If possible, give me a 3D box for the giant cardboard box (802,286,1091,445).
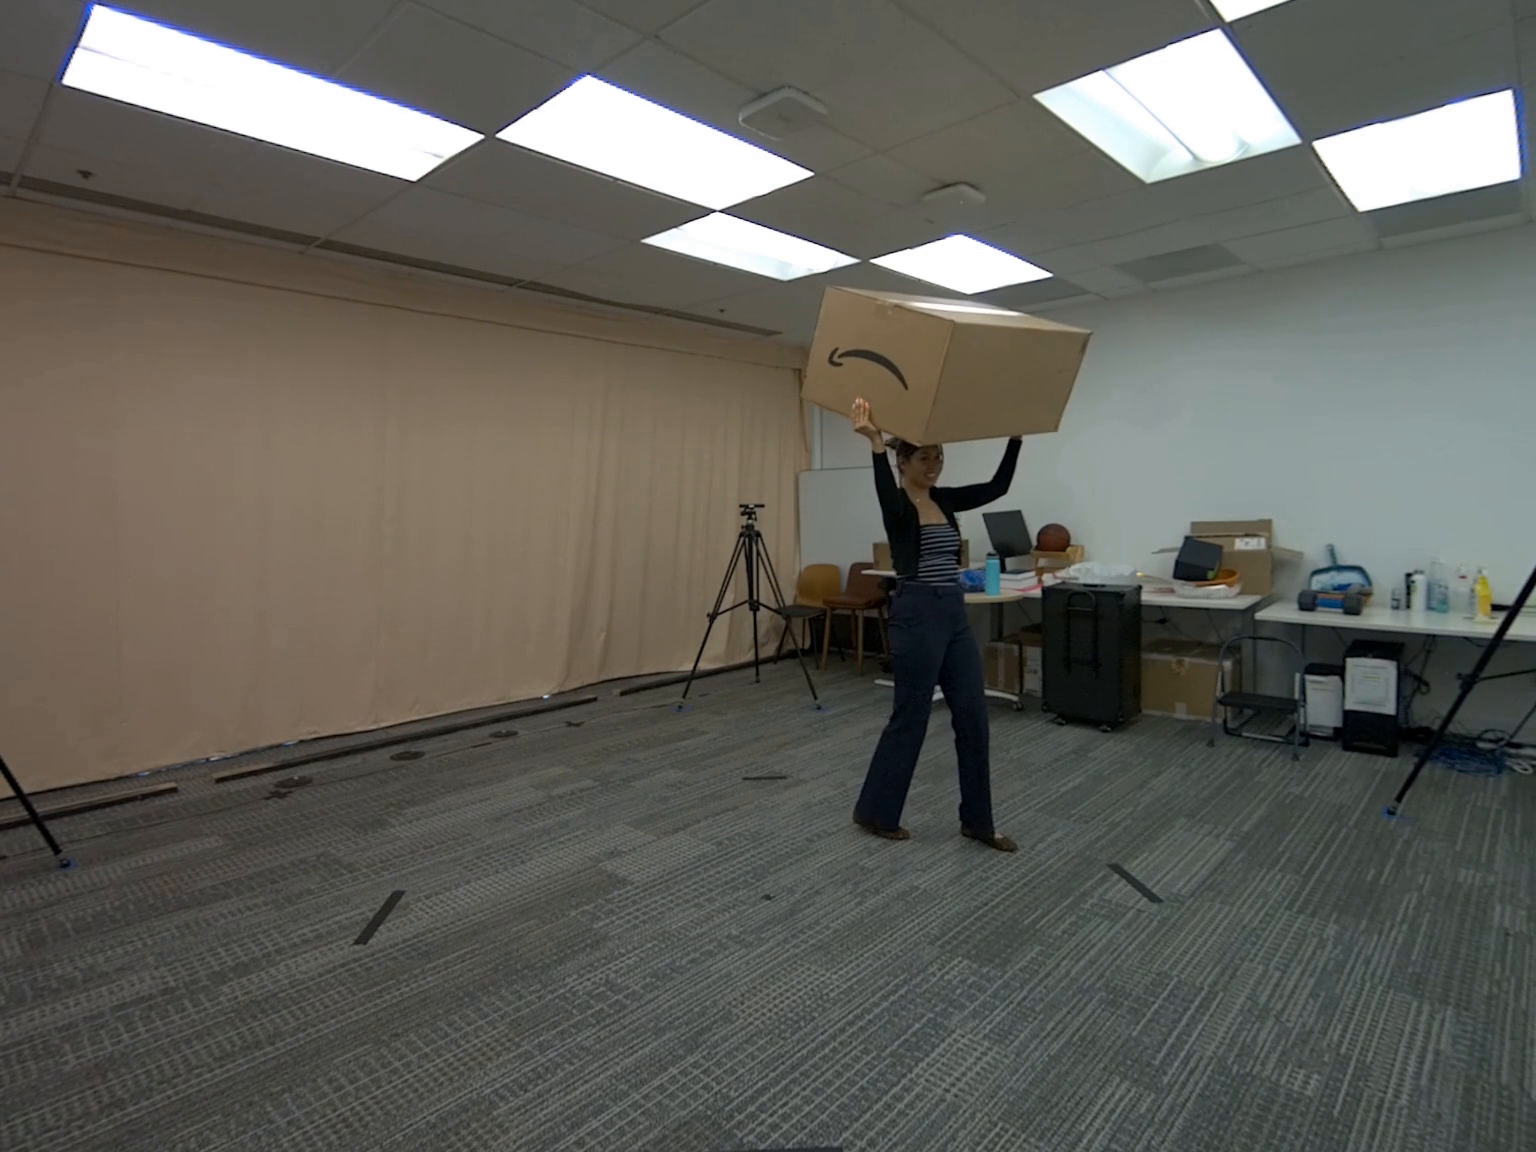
[{"bbox_3d":[0.710,-0.820,3.297,0.997,0.422,0.599,-12,33,-43],"label":"giant cardboard box"}]
